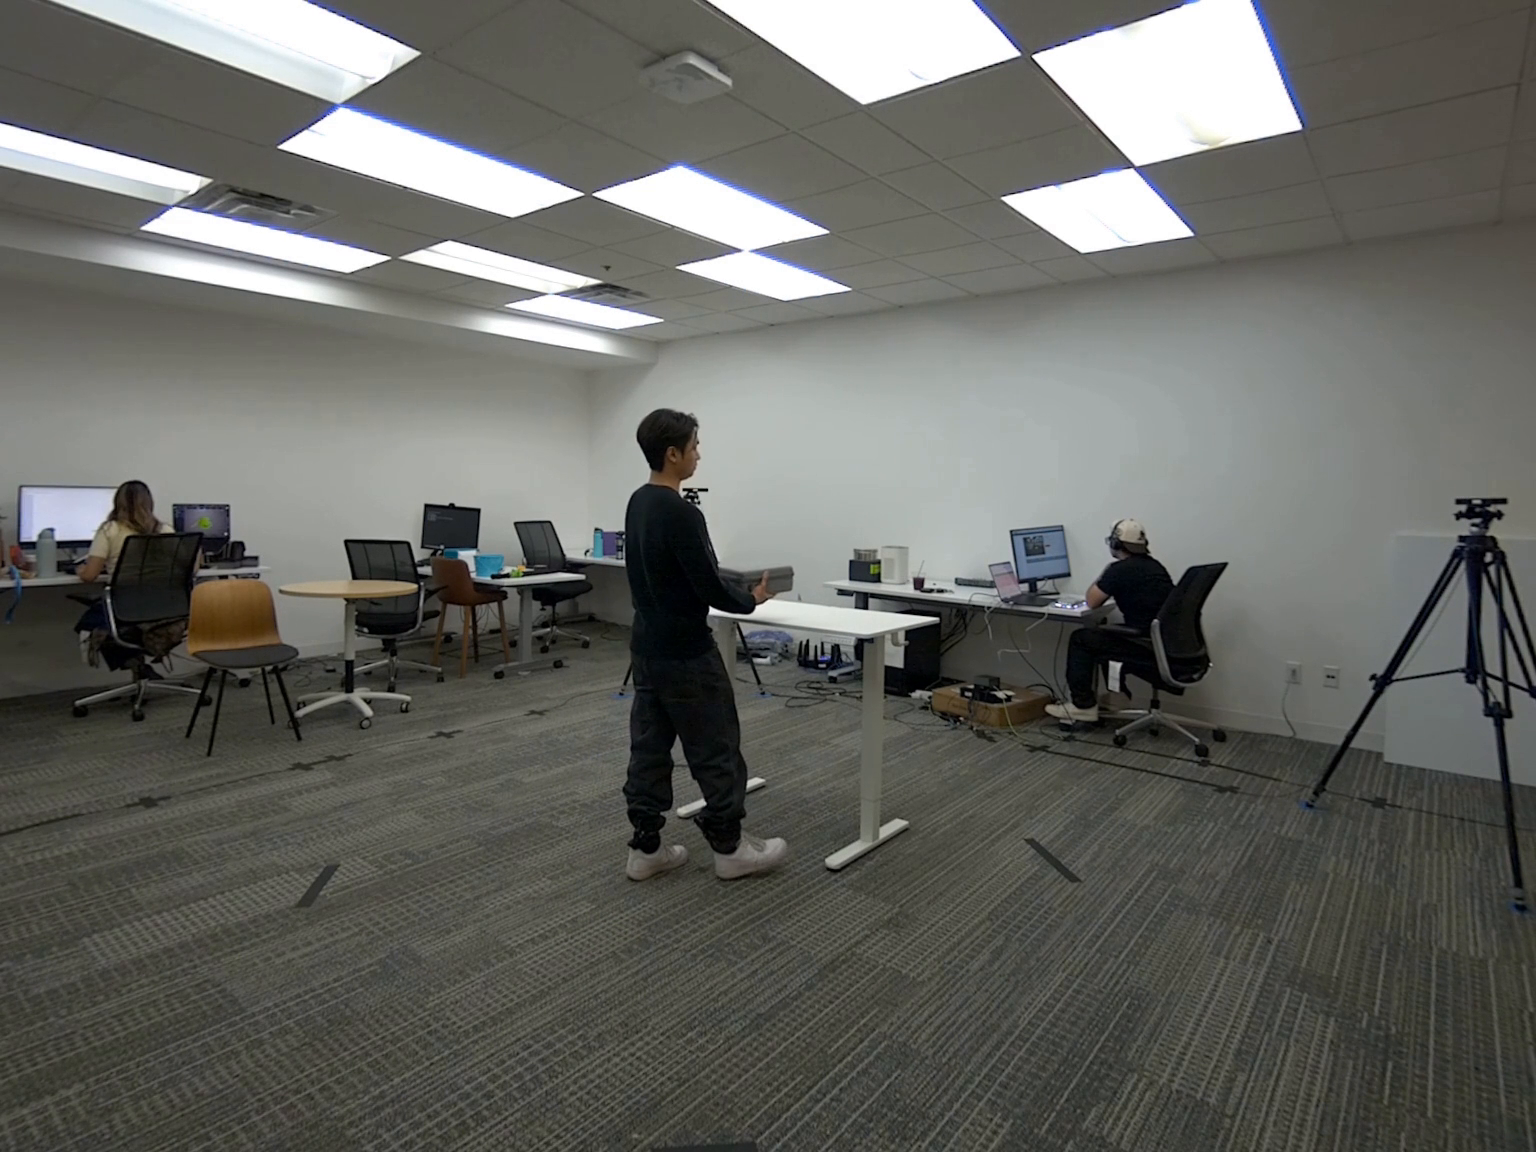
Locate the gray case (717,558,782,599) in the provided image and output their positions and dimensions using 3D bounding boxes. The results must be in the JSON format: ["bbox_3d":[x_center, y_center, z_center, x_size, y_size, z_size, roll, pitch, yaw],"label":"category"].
[{"bbox_3d":[-0.096,0.004,3.287,0.260,0.103,0.260,1,10,11],"label":"gray case"}]
